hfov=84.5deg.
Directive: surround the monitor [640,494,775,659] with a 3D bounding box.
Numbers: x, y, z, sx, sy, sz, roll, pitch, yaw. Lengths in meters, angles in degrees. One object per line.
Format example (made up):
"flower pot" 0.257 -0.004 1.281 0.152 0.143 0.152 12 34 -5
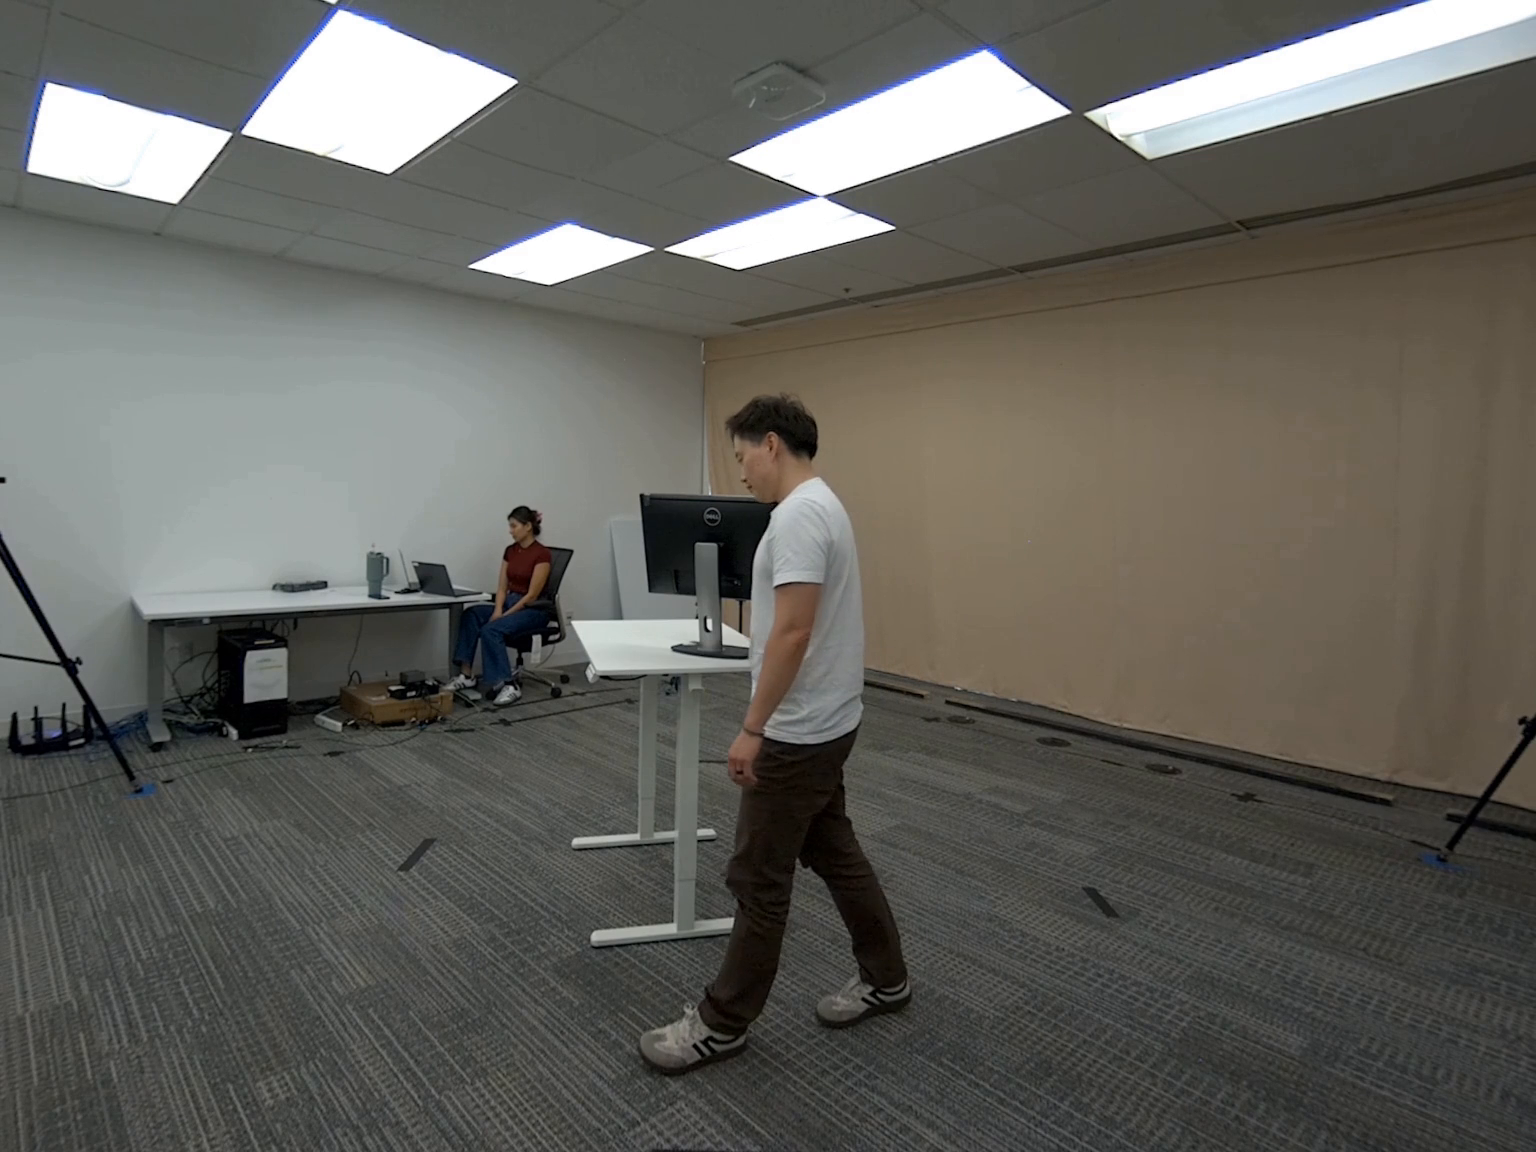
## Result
"monitor" -0.179 0.001 2.729 0.547 0.520 0.185 3 5 19
